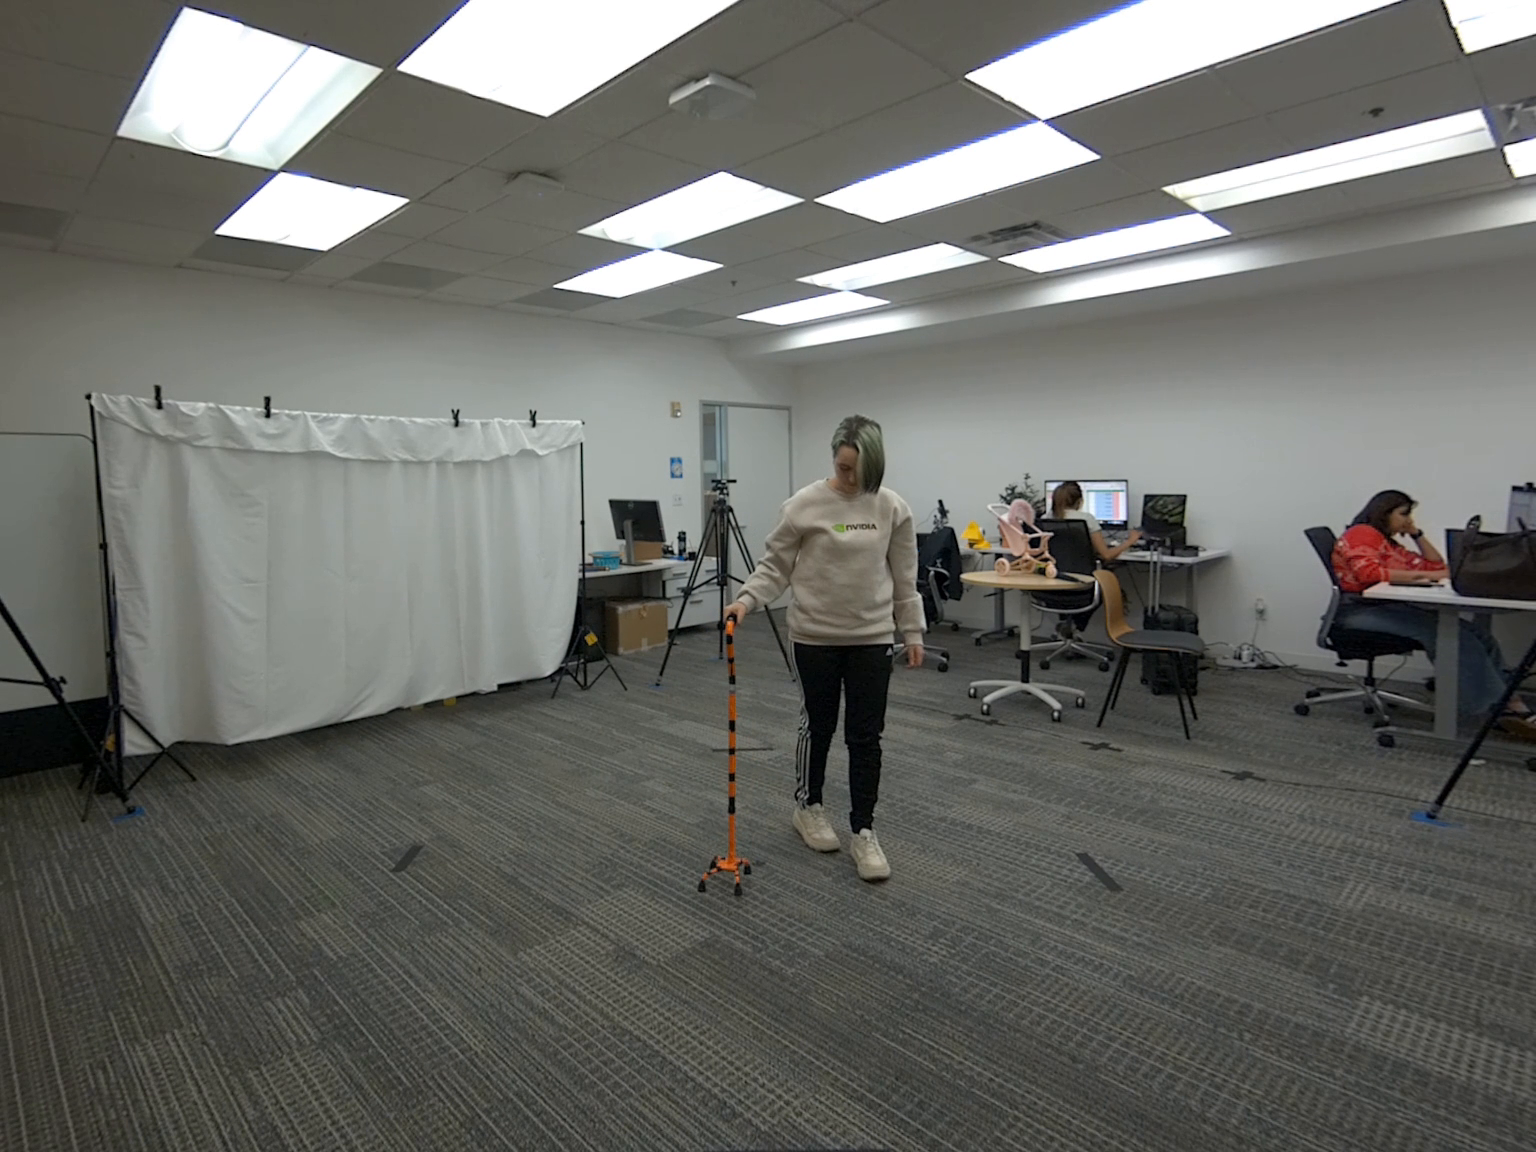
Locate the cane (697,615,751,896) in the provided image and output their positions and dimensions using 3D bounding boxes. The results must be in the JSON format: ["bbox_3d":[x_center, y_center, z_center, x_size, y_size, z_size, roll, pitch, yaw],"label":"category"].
[{"bbox_3d":[-0.135,0.592,2.905,0.153,0.907,0.205,0,0,8],"label":"cane"}]
